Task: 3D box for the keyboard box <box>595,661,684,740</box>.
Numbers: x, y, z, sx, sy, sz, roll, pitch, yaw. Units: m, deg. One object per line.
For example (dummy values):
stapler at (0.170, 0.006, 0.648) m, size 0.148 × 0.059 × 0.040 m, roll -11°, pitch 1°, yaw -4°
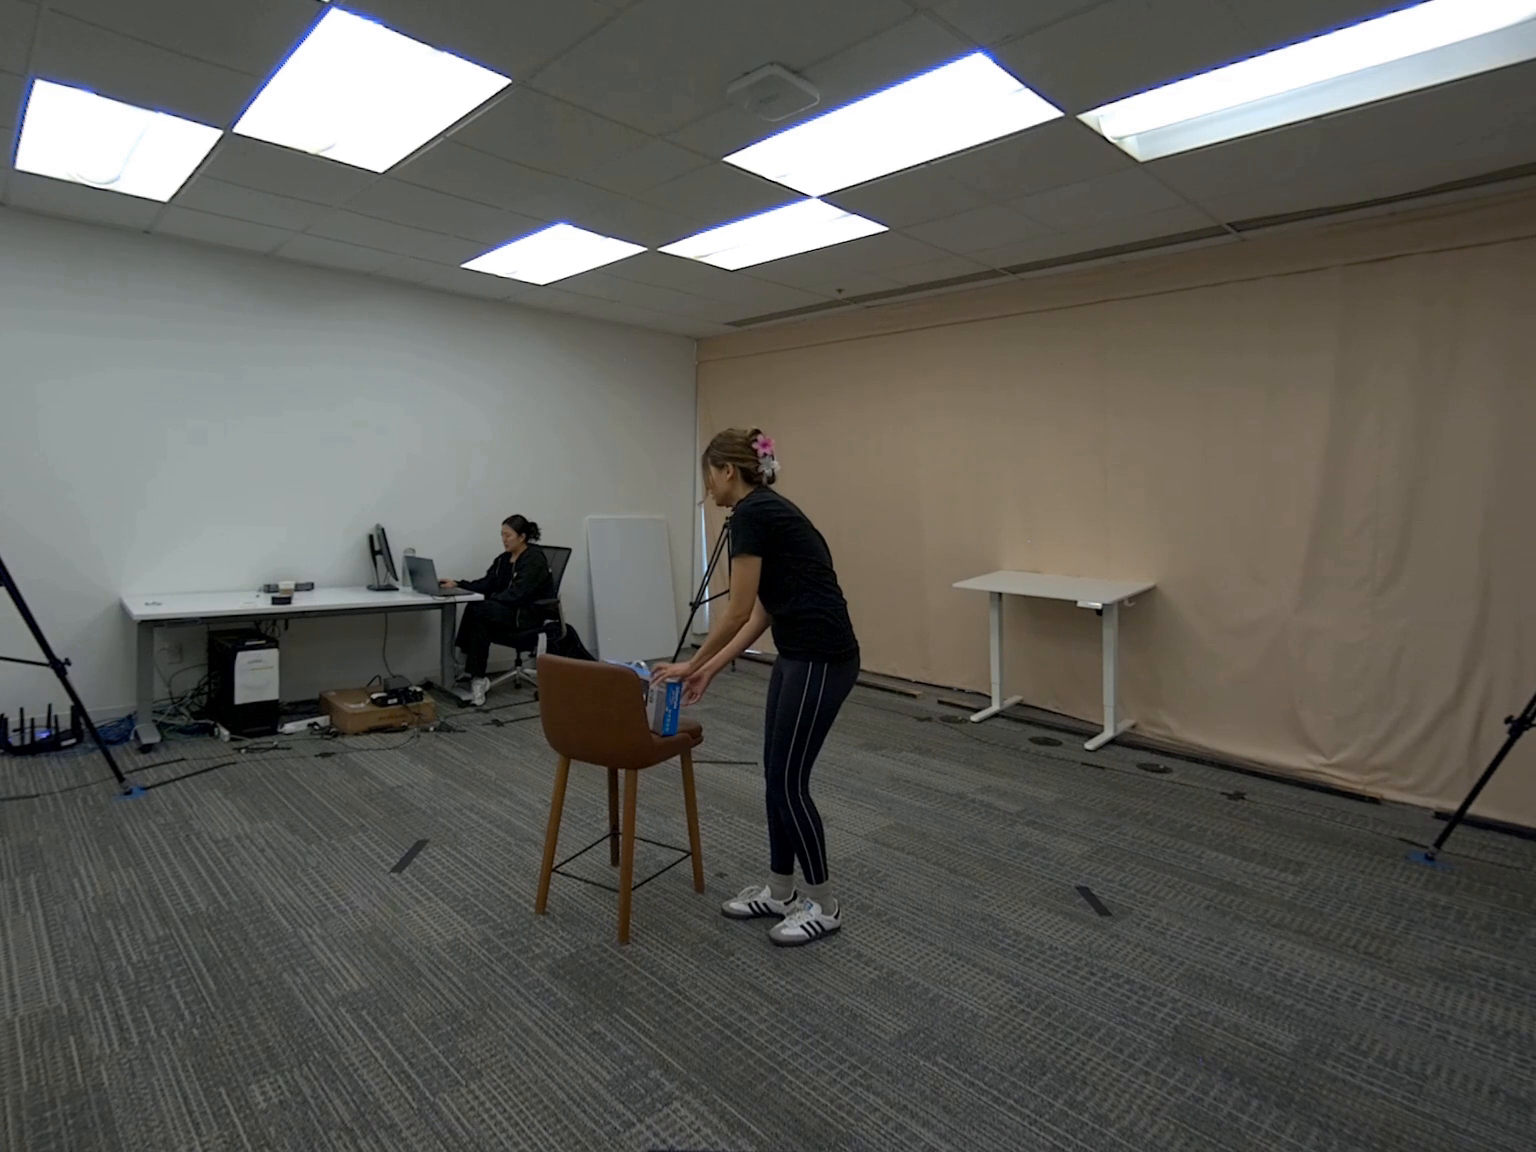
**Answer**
keyboard box at (-0.449, 0.417, 2.905) m, size 0.057 × 0.176 × 0.448 m, roll 8°, pitch 0°, yaw -41°
